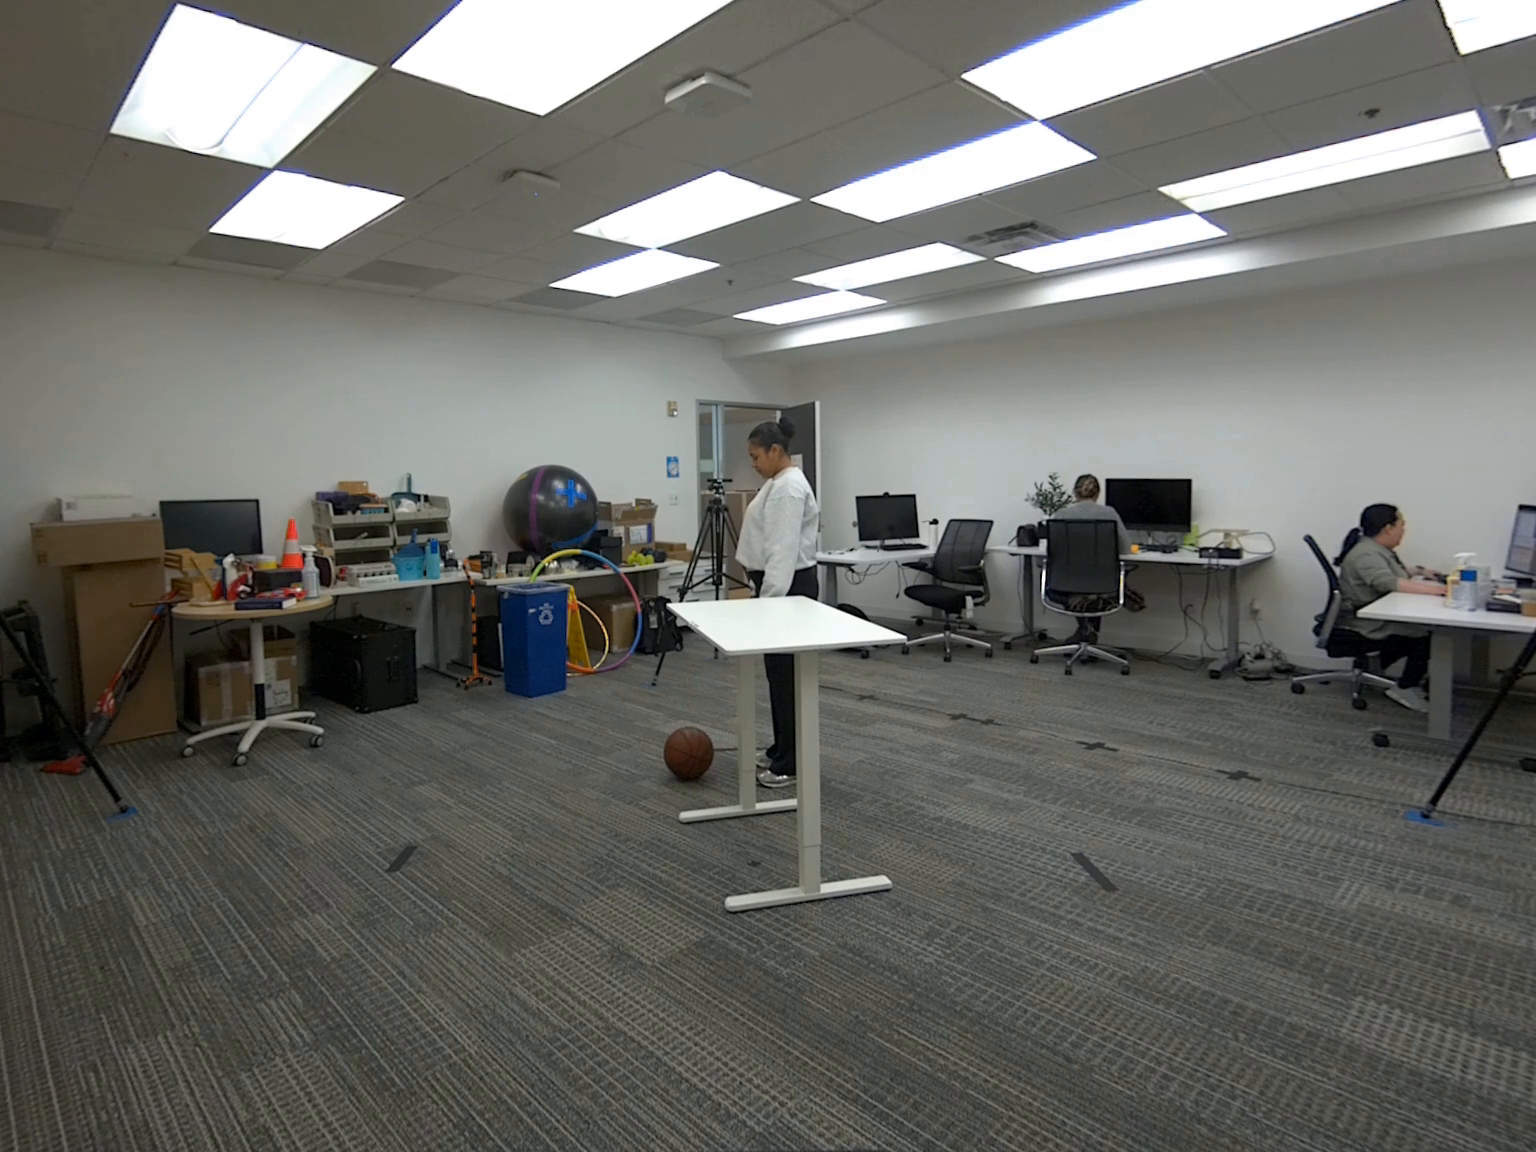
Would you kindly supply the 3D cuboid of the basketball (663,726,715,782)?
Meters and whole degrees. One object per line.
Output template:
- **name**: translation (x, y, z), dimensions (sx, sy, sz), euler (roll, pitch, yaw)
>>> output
- **basketball**: translation (-0.368, 0.830, 4.021), dimensions (0.236, 0.235, 0.237), euler (-1, 5, -2)
